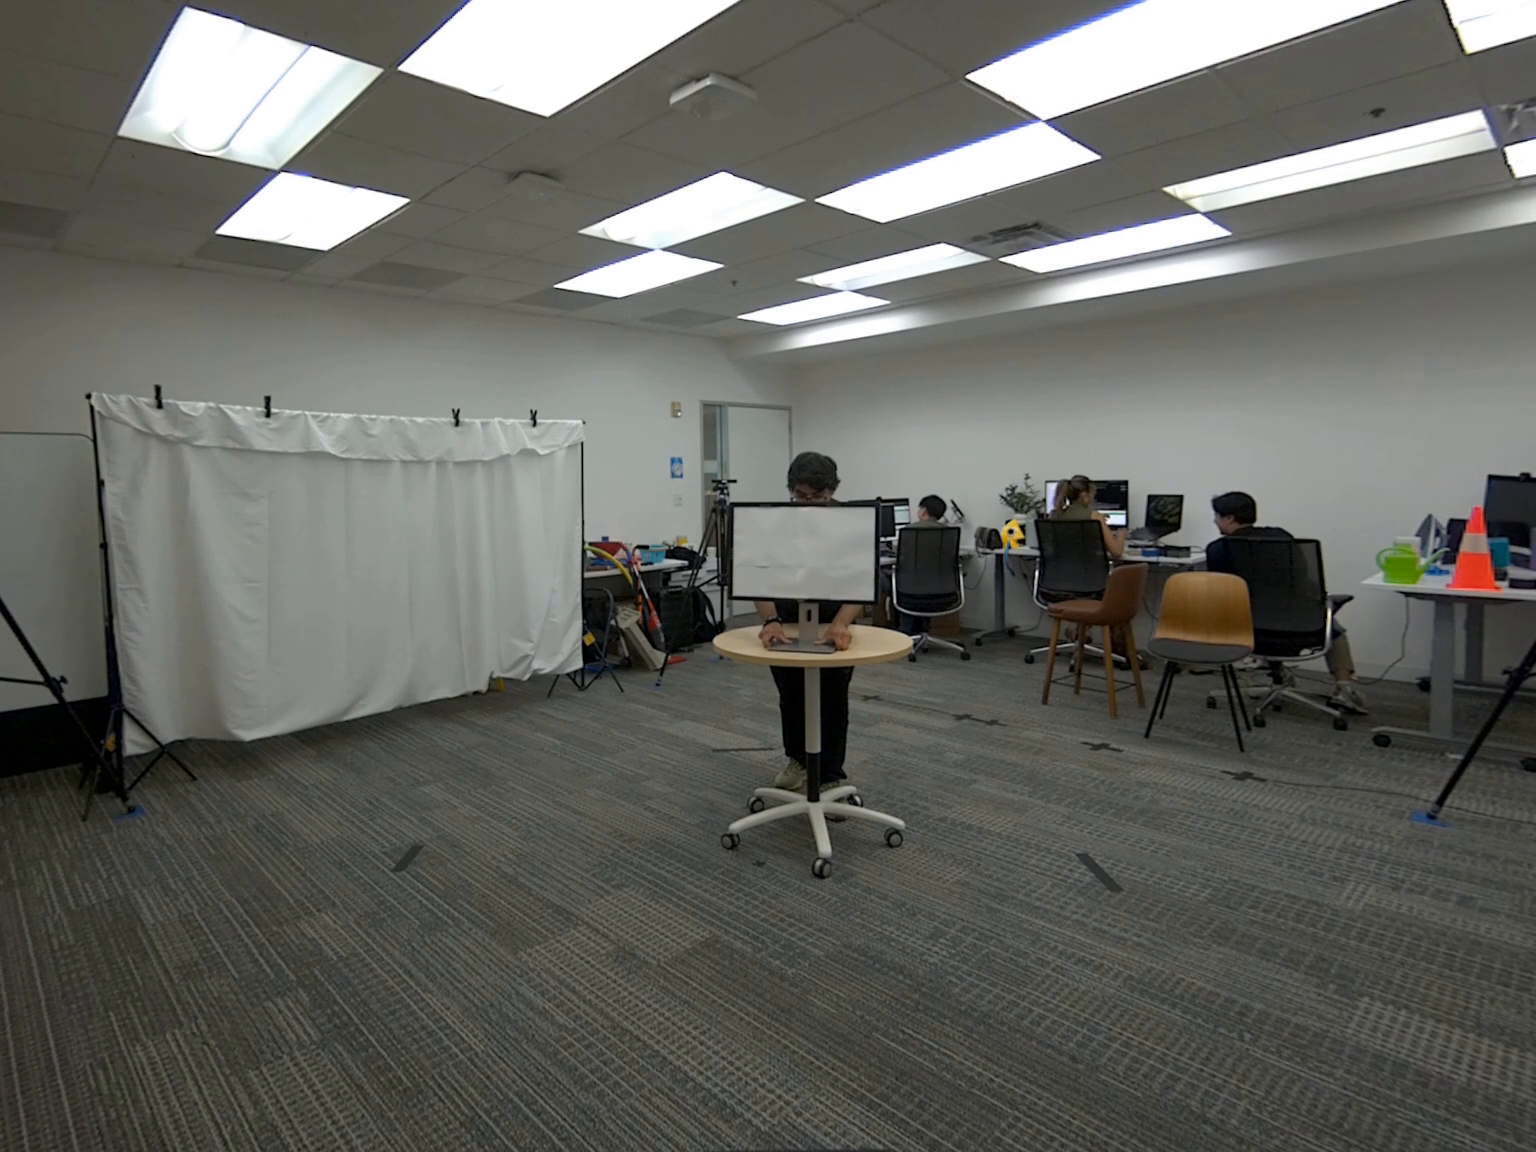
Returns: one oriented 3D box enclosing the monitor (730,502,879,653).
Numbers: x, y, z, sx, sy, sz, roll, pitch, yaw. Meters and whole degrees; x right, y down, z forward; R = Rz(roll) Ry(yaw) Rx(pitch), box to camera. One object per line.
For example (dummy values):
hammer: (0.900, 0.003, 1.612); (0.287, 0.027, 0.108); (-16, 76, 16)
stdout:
monitor: (0.139, -0.001, 3.153); (0.575, 0.552, 0.207); (1, 3, 18)
